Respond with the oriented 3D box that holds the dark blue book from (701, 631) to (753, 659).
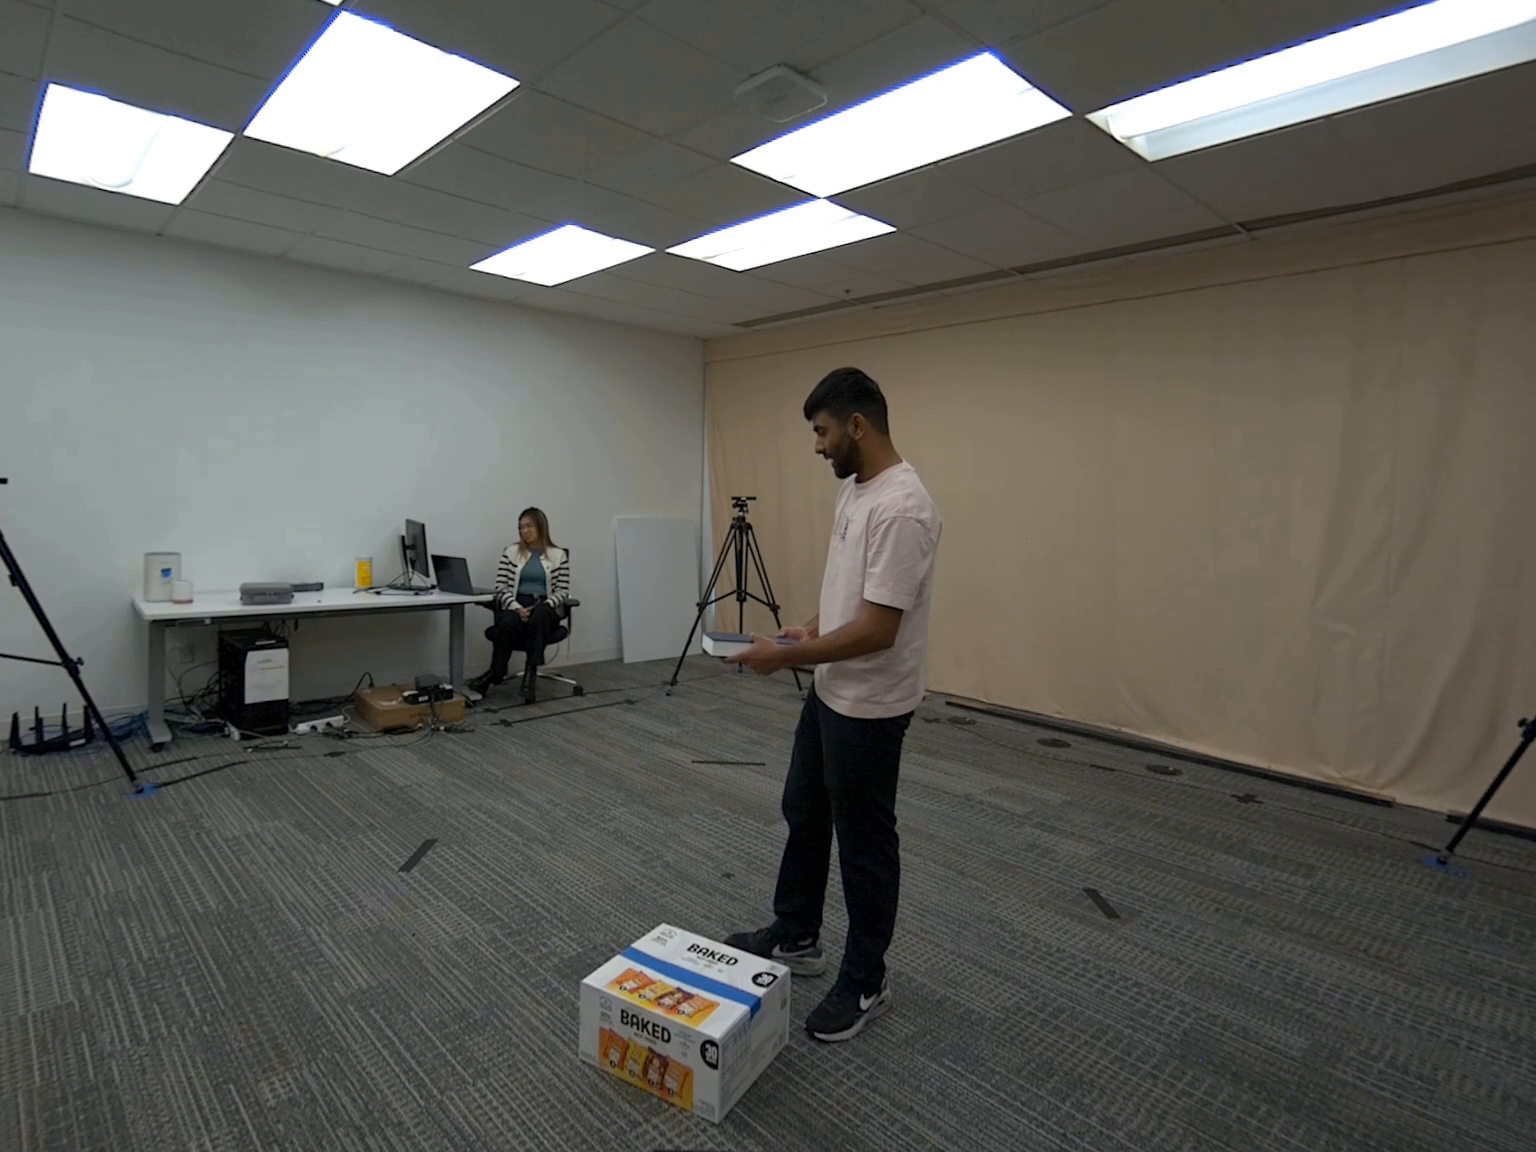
[{"bbox_3d":[-0.059,0.187,2.269,0.242,0.045,0.165,4,3,-12],"label":"dark blue book"}]
